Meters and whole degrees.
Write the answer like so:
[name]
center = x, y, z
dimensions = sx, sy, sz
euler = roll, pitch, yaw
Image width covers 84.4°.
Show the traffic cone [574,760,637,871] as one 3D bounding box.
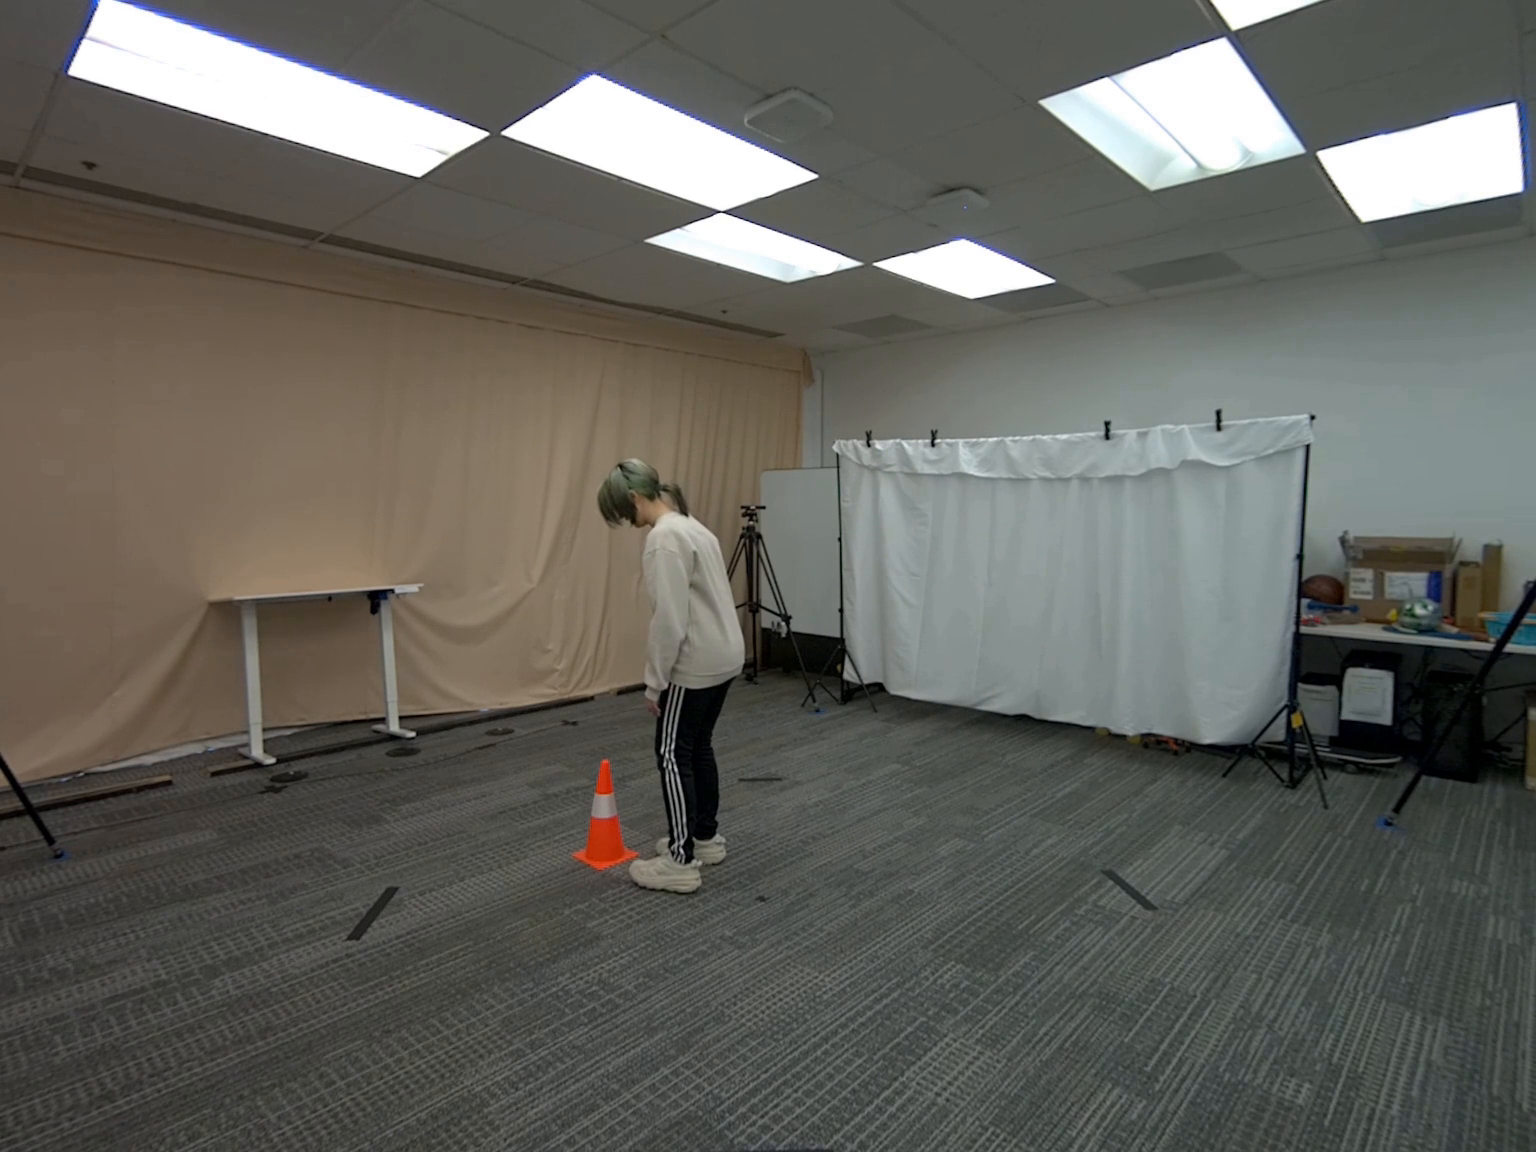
[traffic cone]
center = -0.646, 0.934, 3.367
dimensions = 0.210, 0.383, 0.198
euler = 4, 3, 44
